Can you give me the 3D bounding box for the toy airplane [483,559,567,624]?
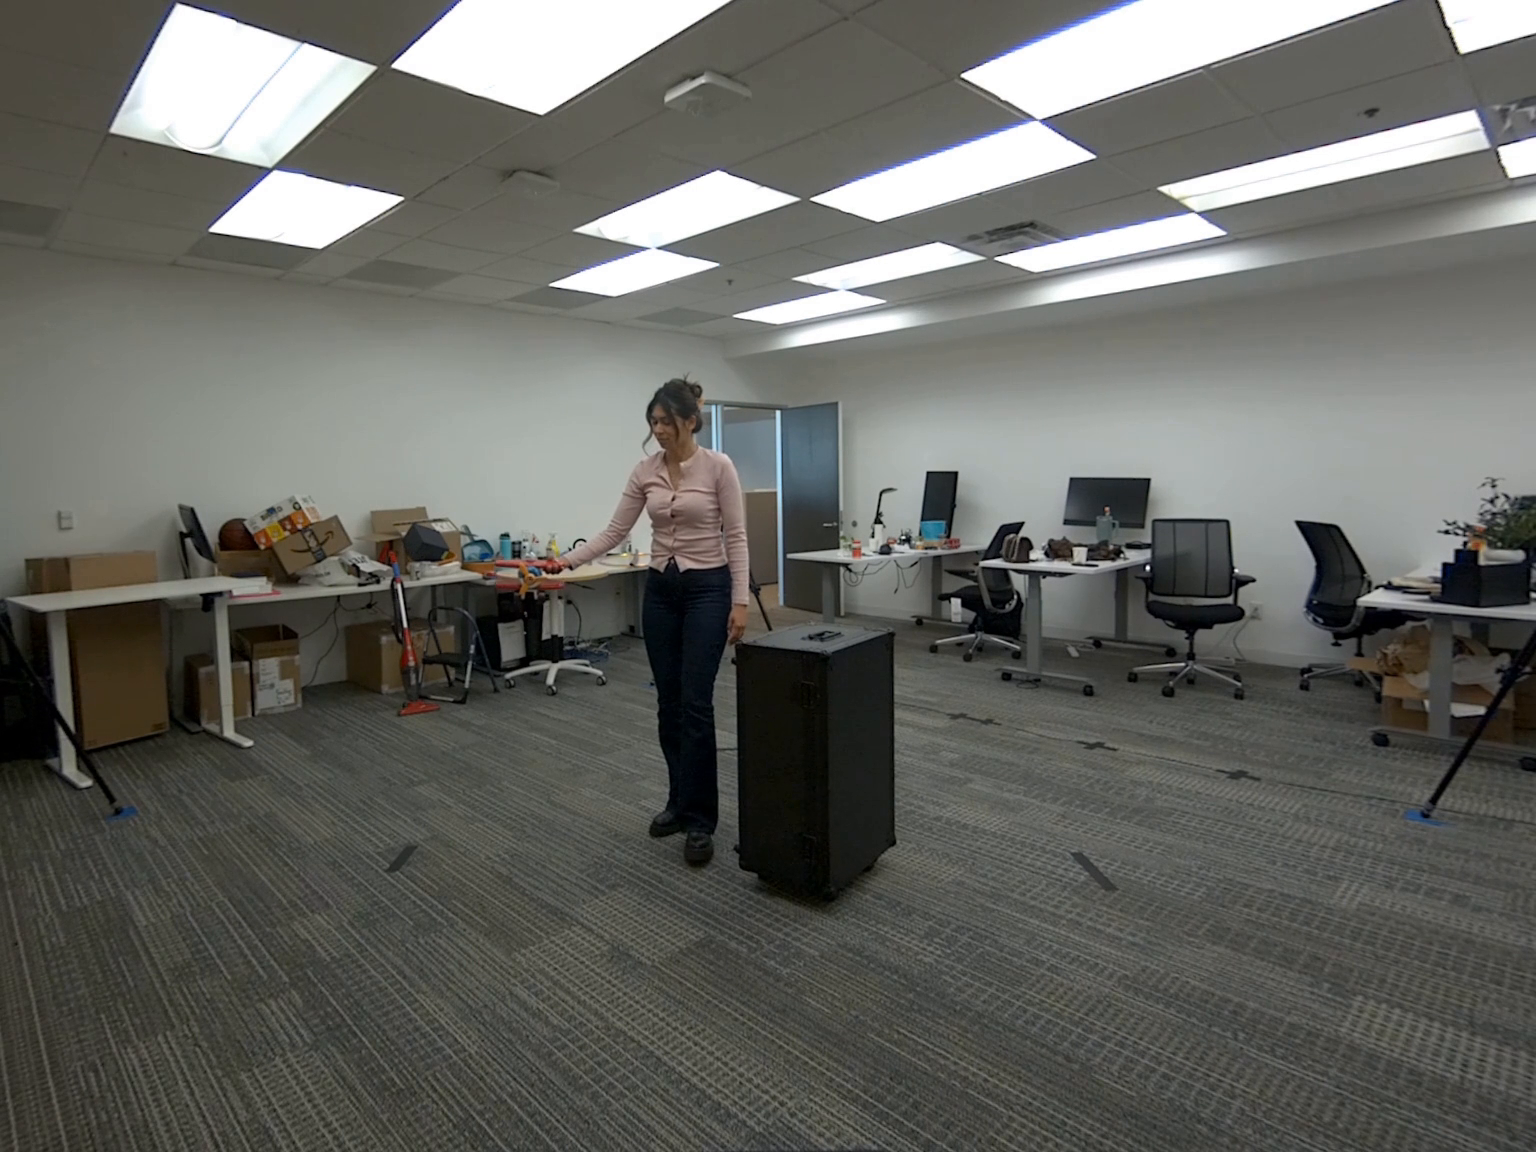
[{"bbox_3d":[-0.909,-0.002,3.201,0.245,0.154,0.269,-12,29,-40],"label":"toy airplane"}]
